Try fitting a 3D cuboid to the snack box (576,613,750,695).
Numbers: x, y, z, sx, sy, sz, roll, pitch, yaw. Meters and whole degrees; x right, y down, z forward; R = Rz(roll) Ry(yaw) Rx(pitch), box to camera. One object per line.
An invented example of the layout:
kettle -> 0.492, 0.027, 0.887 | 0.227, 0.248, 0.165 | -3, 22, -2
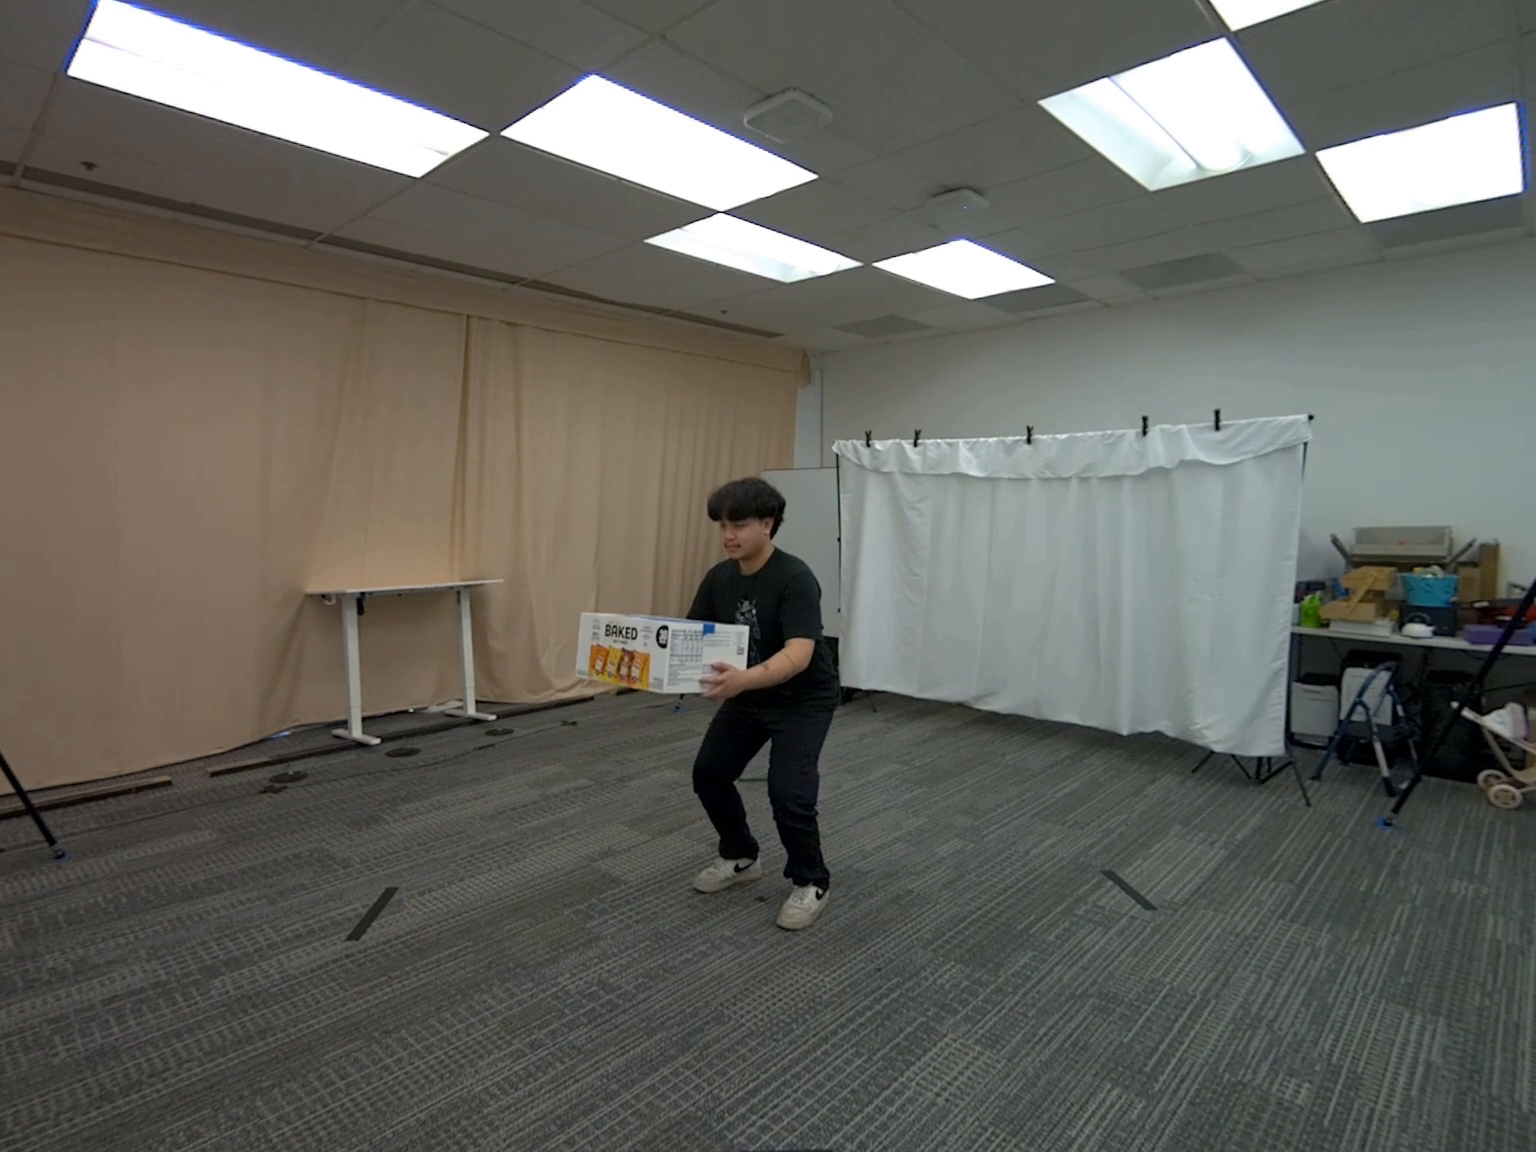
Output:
snack box -> -0.323, 0.235, 2.606 | 0.418, 0.206, 0.329 | 3, -2, 42
